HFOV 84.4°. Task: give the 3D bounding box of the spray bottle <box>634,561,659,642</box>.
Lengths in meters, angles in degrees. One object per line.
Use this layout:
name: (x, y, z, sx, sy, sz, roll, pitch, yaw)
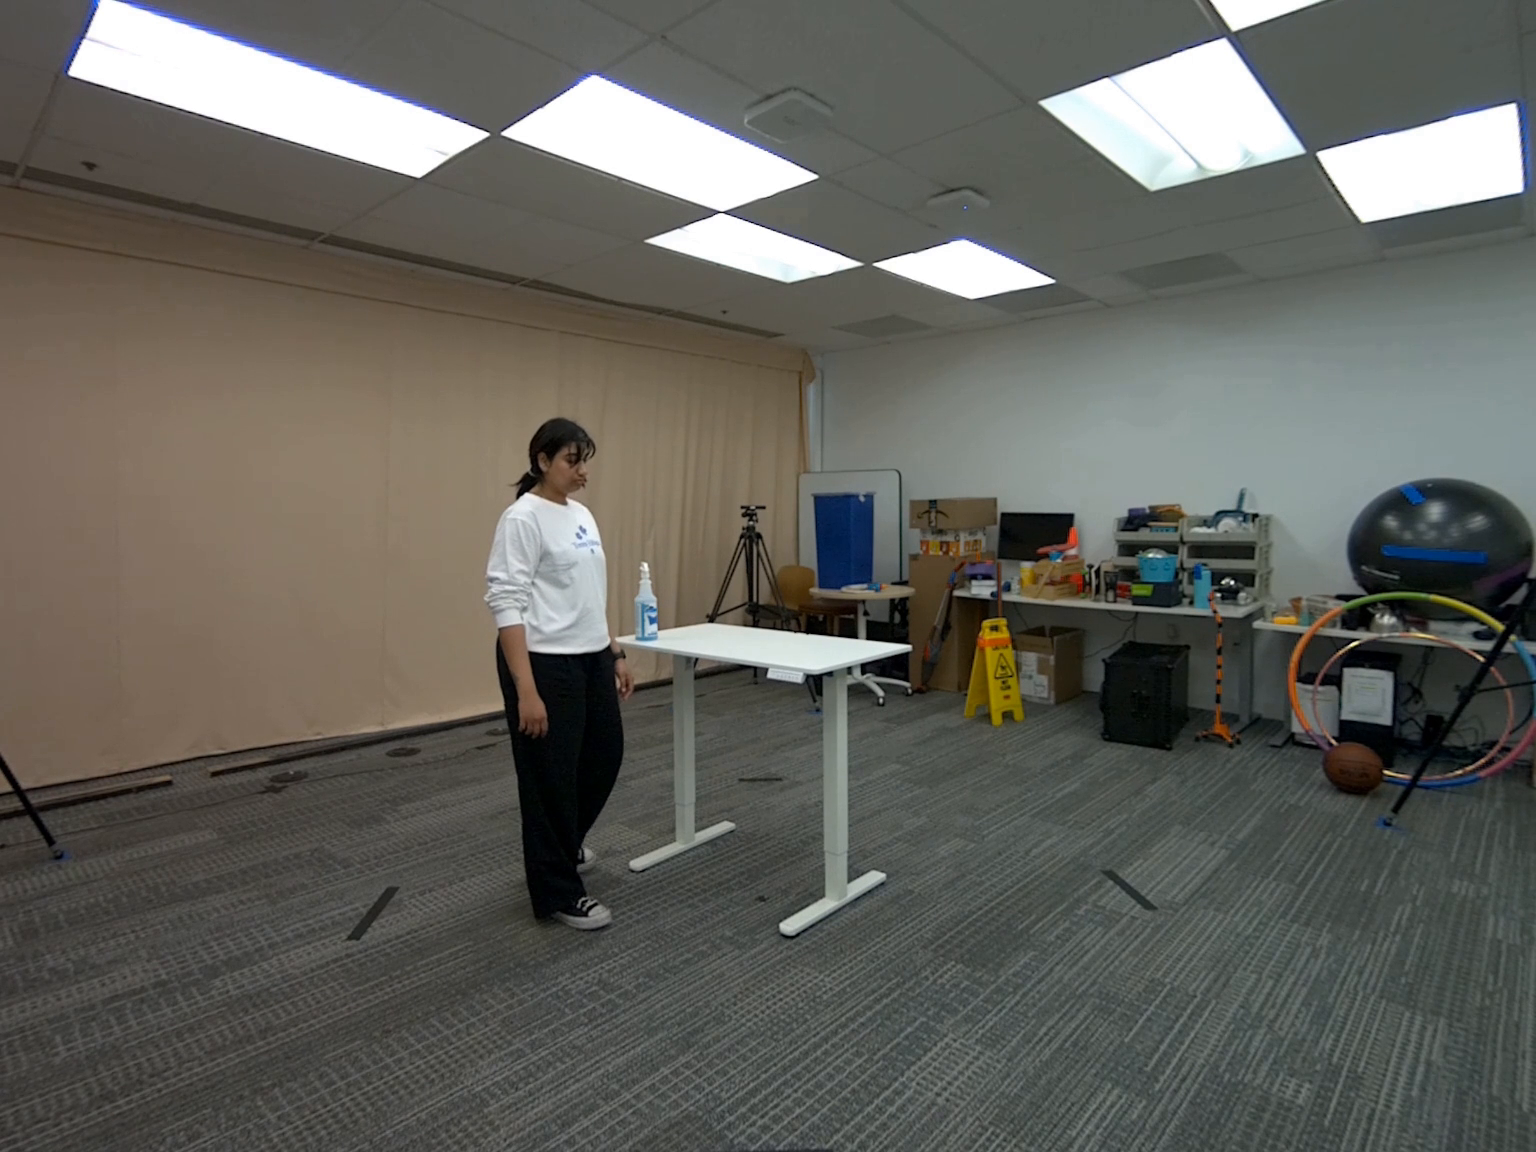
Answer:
spray bottle: (-0.470, 0.099, 3.244, 0.088, 0.297, 0.089, 0, 3, 11)
